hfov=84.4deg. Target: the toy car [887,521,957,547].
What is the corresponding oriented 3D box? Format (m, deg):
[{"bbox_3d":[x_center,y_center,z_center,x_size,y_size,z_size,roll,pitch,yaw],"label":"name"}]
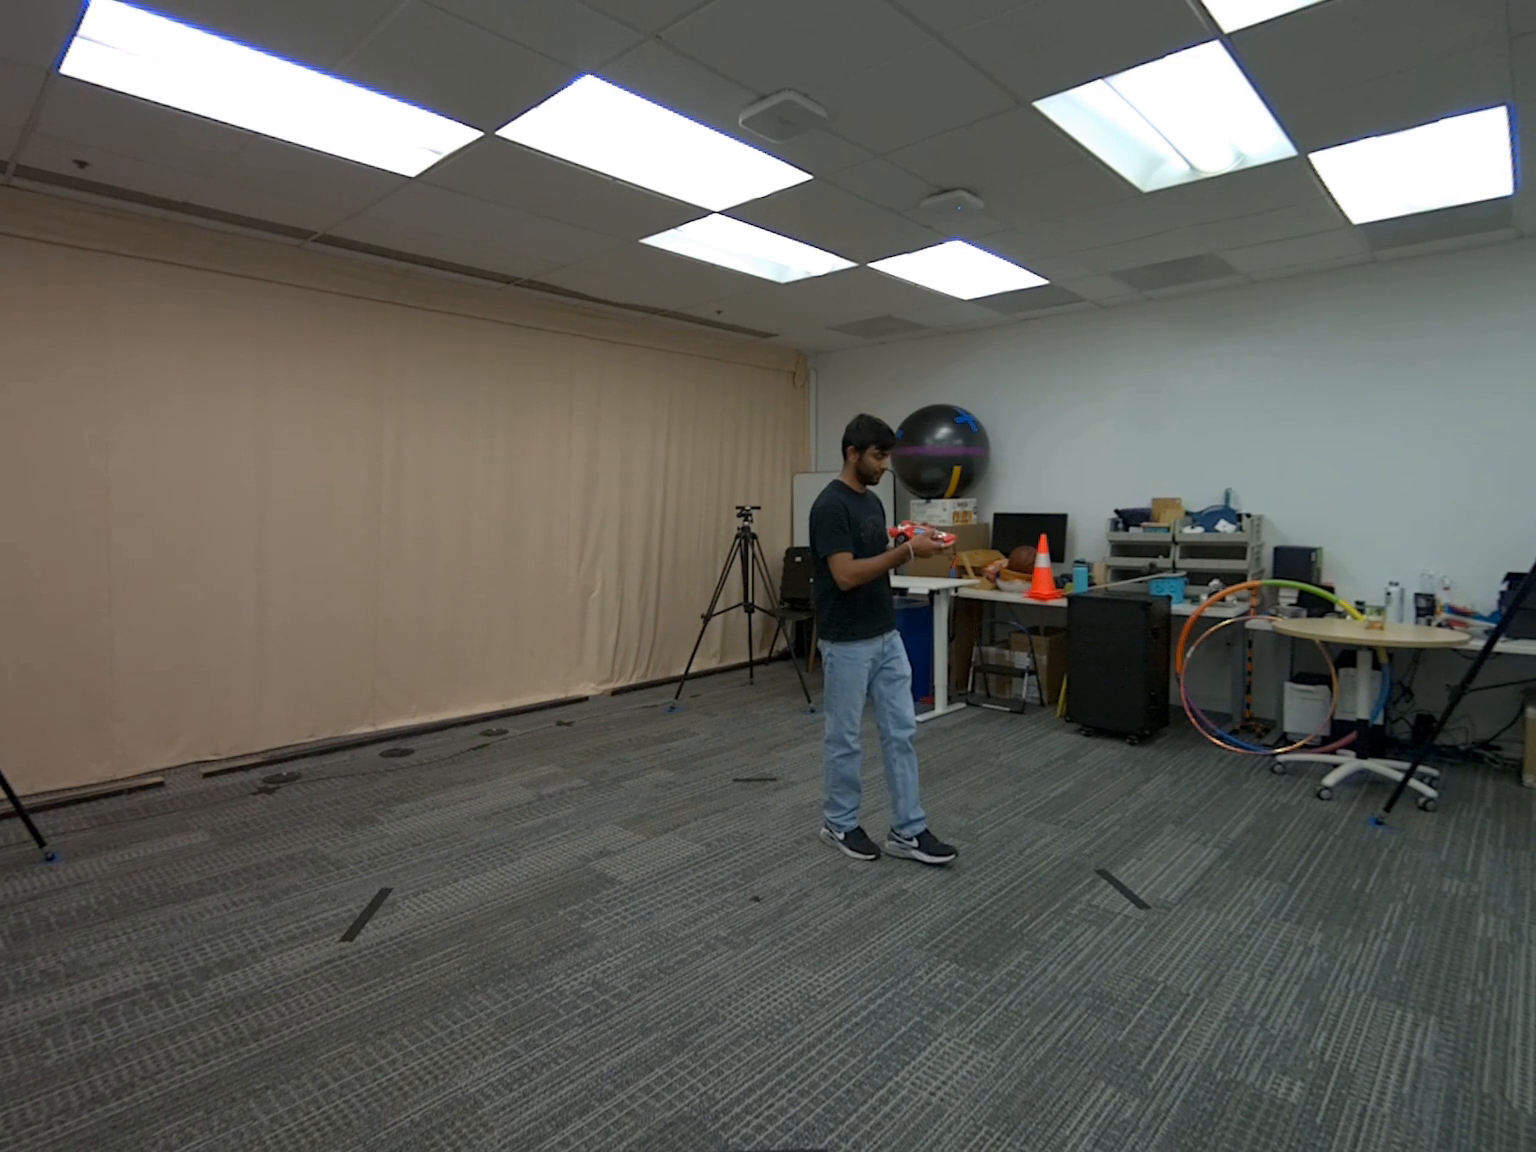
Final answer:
[{"bbox_3d":[0.582,-0.144,3.187,0.262,0.083,0.127,20,17,24],"label":"toy car"}]
